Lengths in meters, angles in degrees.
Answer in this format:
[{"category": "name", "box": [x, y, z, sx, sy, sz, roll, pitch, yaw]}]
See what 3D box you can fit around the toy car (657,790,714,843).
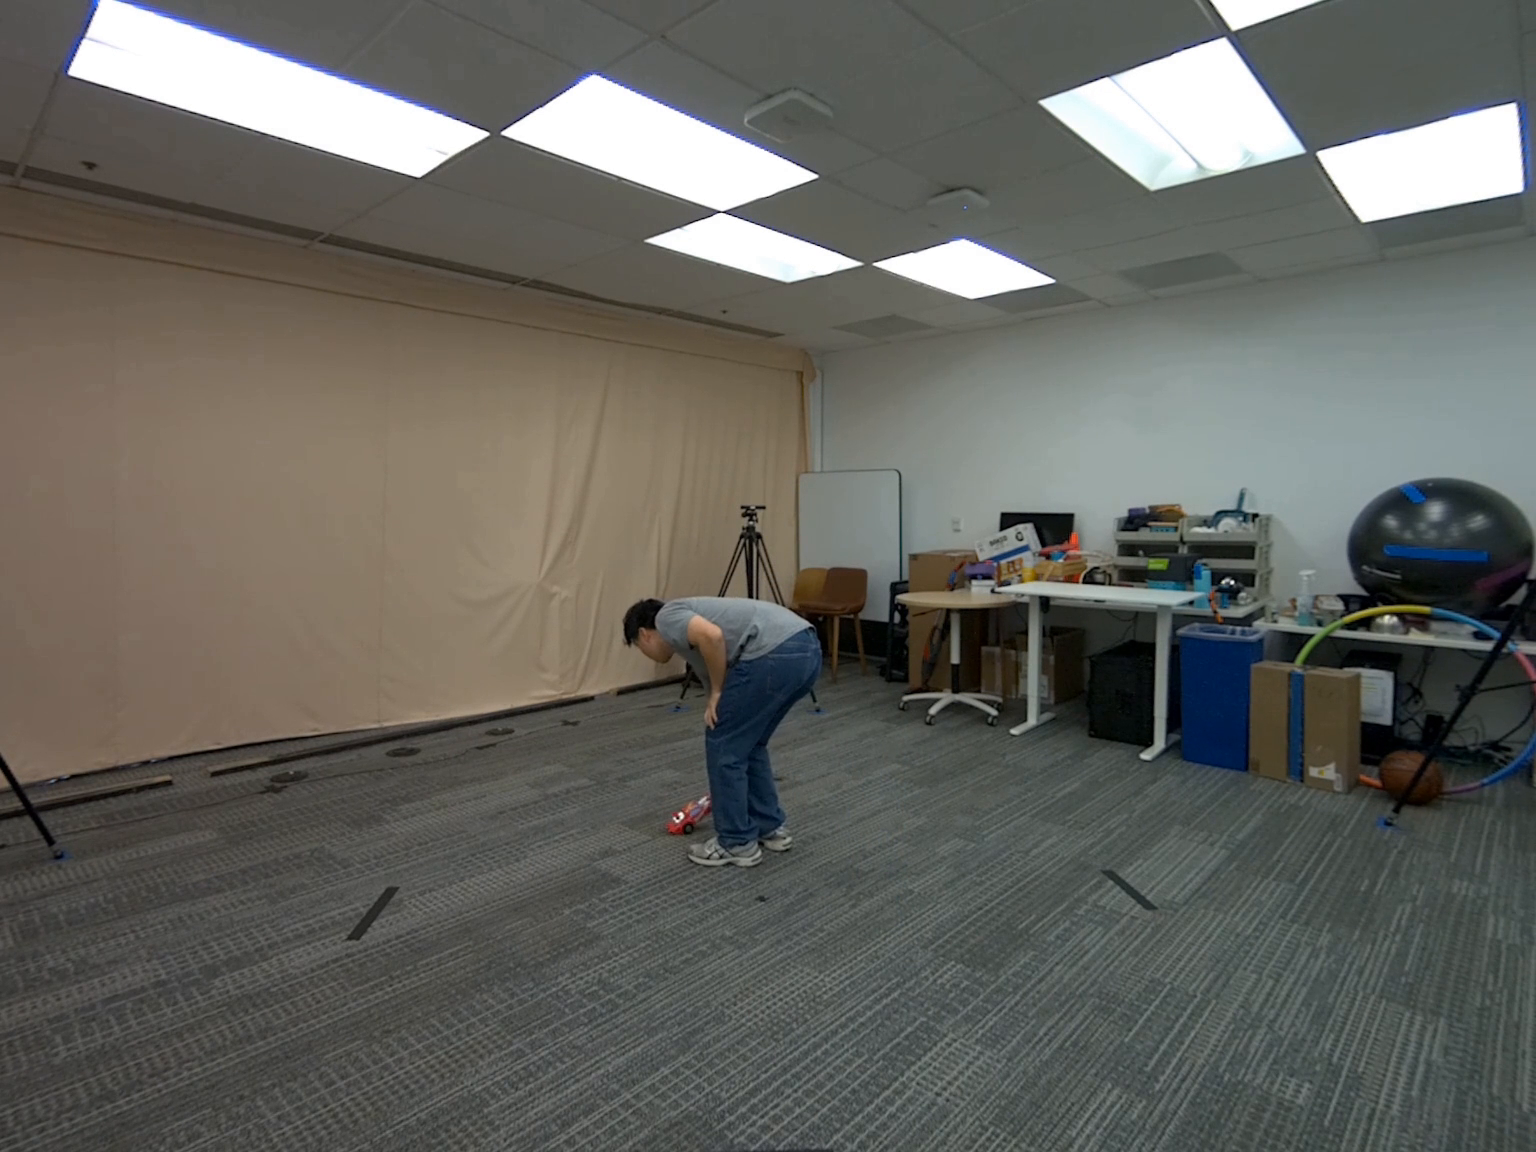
[{"category": "toy car", "box": [-0.331, 1.024, 3.631, 0.251, 0.082, 0.133, -20, 10, -16]}]
